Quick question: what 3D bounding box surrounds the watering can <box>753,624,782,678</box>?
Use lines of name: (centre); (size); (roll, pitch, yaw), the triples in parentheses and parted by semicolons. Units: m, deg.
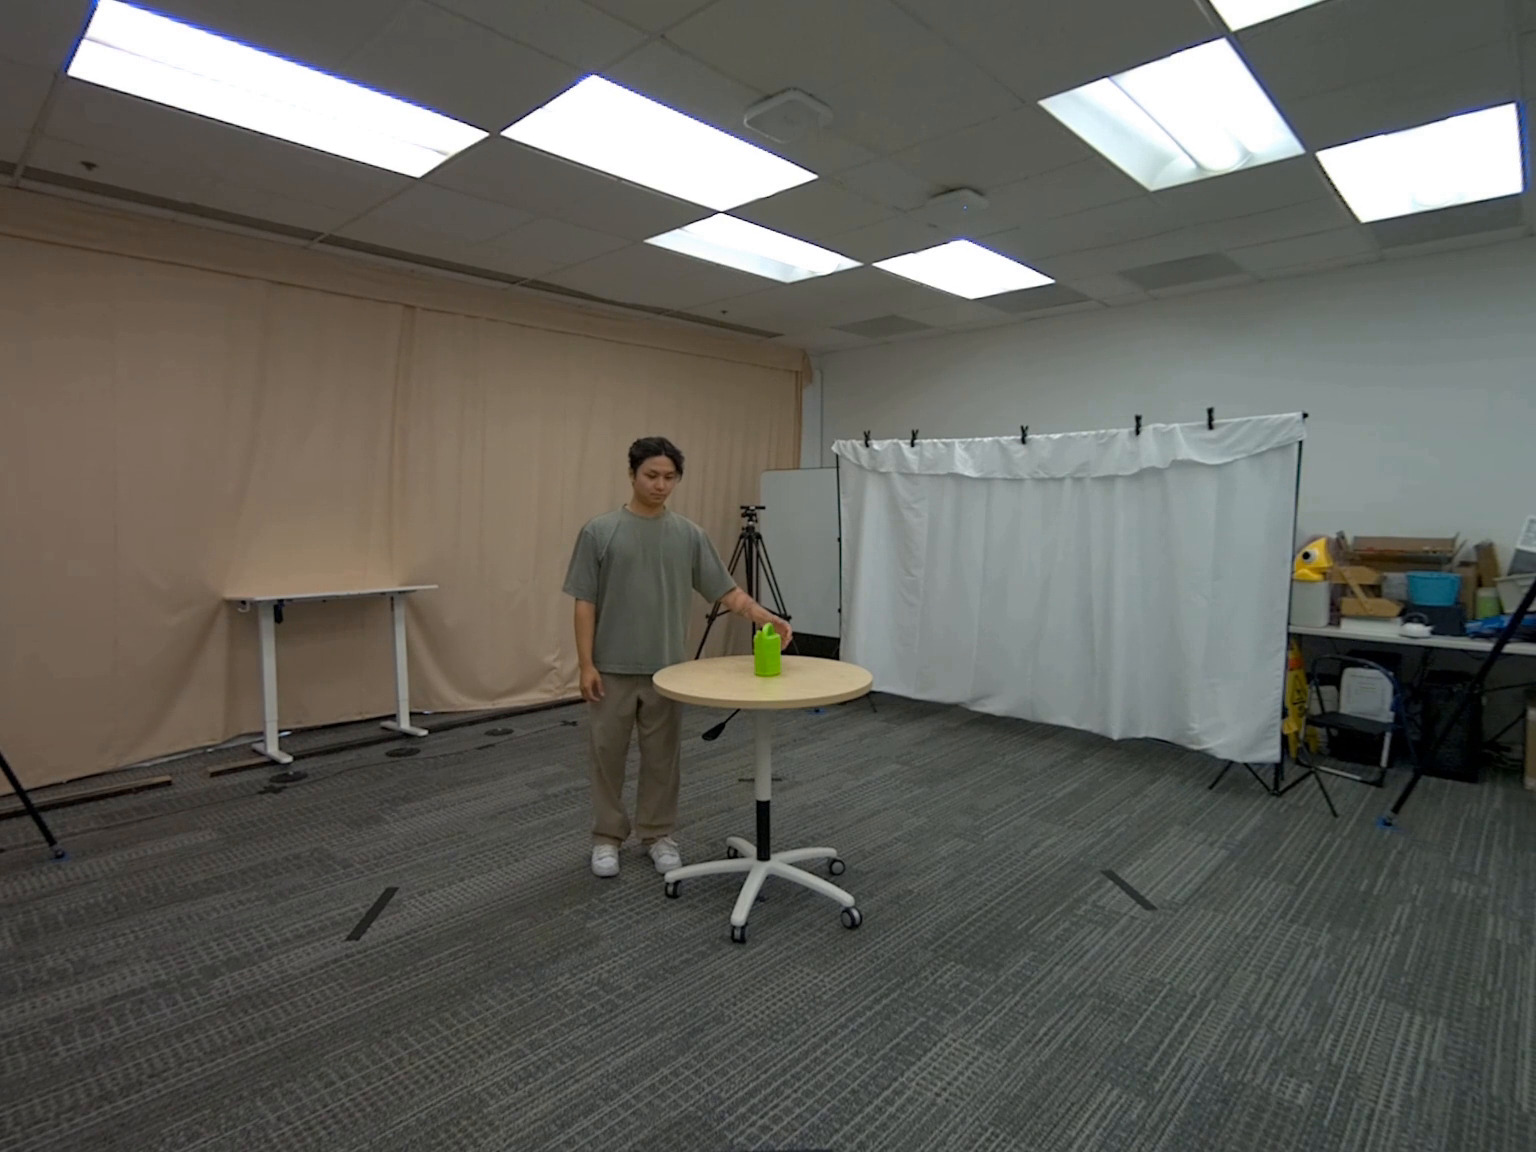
watering can: (-0.017, 0.266, 2.941); (0.101, 0.177, 0.271); (0, 2, 28)
